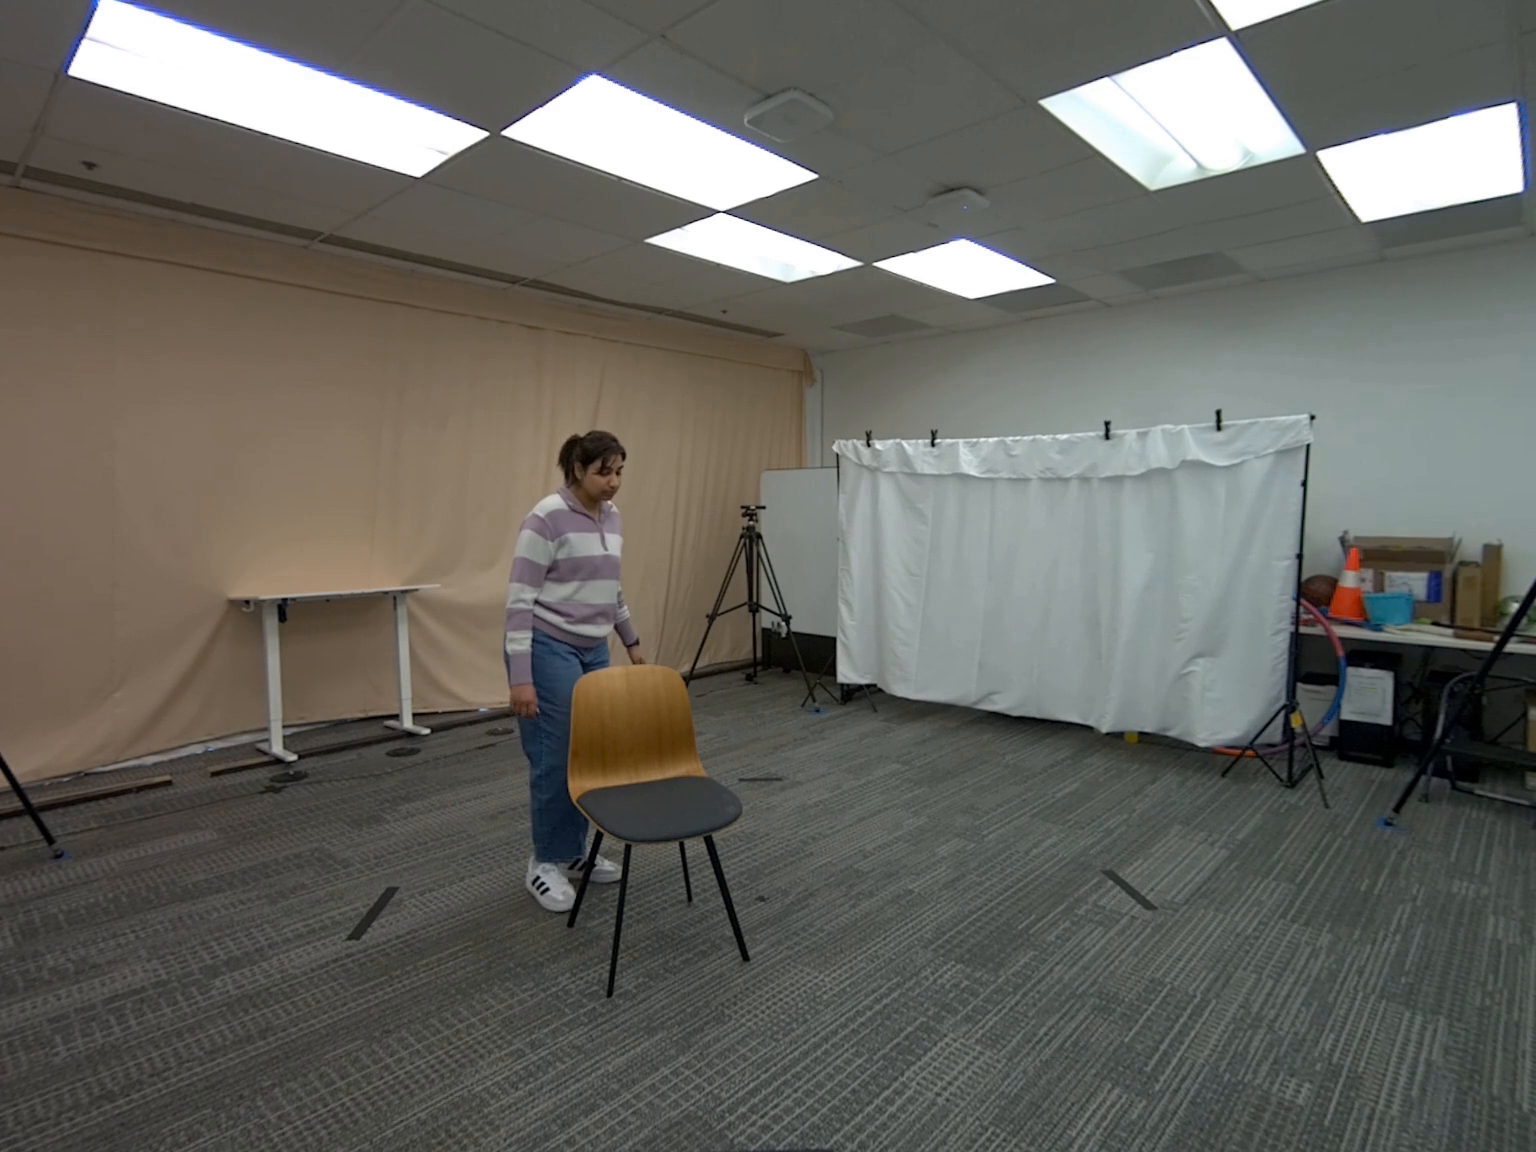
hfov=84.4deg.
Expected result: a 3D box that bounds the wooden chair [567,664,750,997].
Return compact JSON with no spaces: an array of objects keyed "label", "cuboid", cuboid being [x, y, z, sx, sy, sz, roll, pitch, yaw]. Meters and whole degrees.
[{"label":"wooden chair","cuboid":[-0.354,0.749,2.643,0.466,0.878,0.536,-2,0,-27]}]
